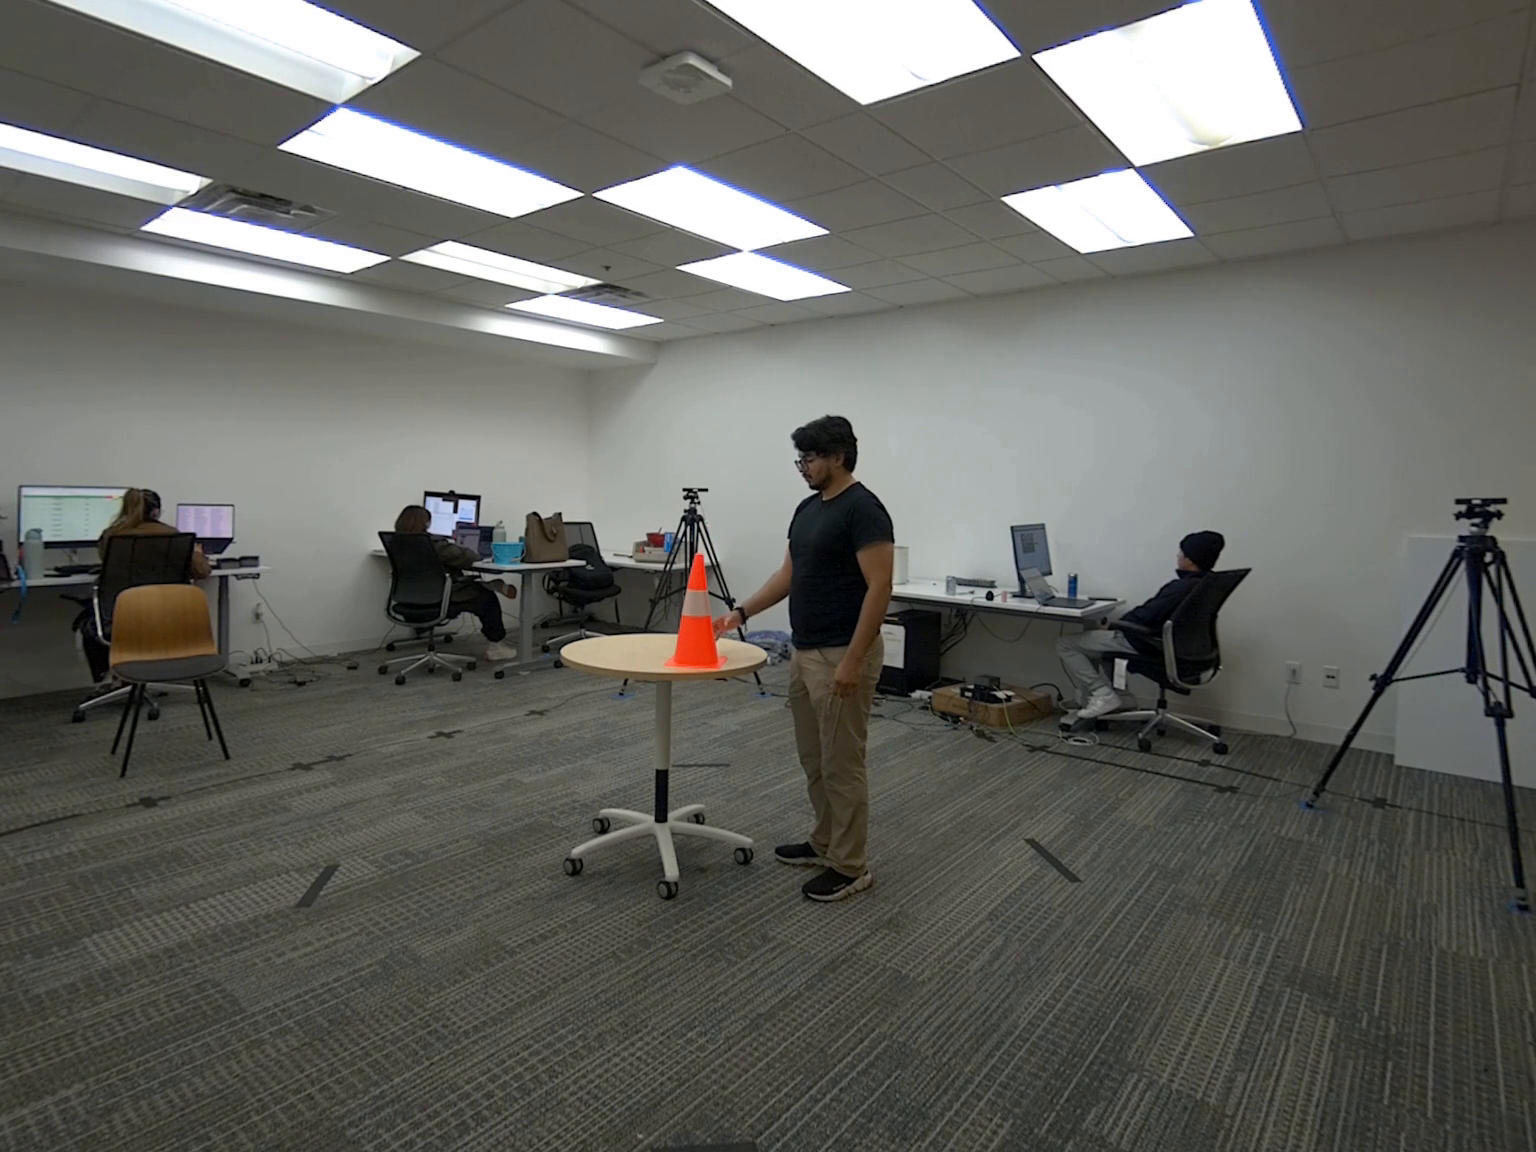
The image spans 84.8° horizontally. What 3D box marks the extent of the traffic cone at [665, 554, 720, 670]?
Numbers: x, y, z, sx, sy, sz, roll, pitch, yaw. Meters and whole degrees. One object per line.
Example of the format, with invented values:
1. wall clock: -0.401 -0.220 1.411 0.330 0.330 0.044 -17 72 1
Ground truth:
1. traffic cone: -0.253 0.112 2.972 0.206 0.382 0.204 2 5 2
